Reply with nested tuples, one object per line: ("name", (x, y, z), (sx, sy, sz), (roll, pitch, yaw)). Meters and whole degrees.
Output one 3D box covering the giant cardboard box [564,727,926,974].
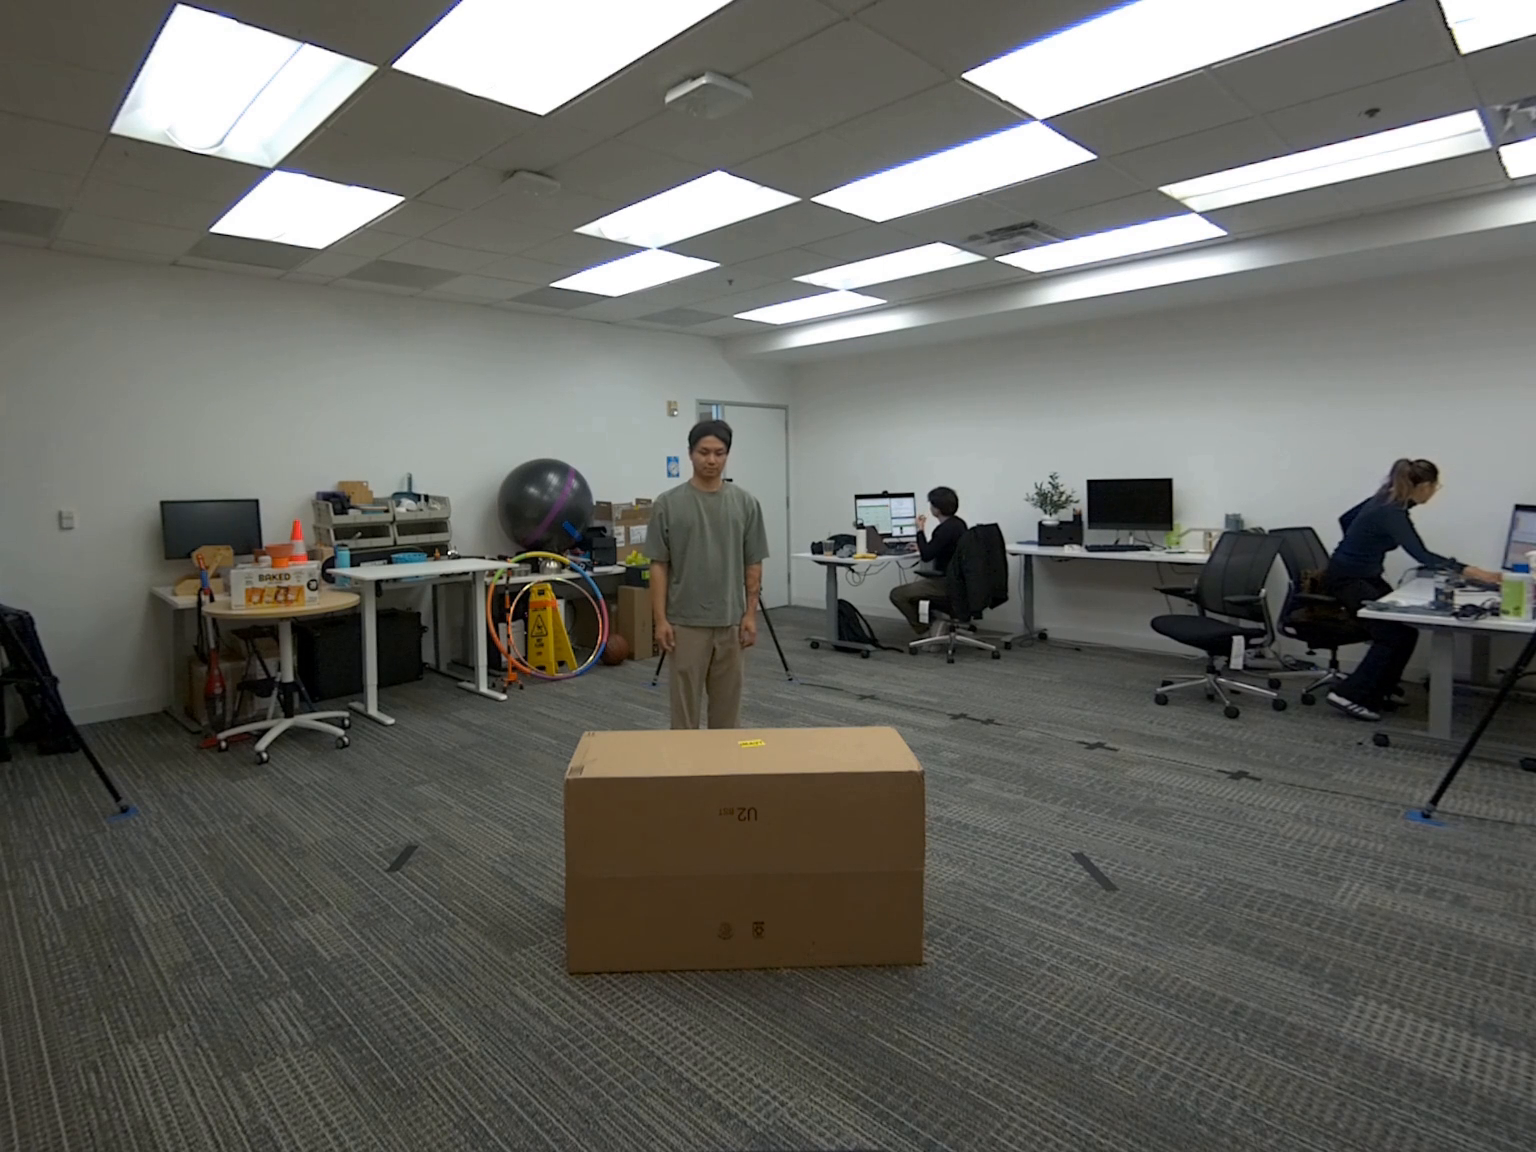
("giant cardboard box", (-0.078, 0.811, 2.627), (1.025, 0.575, 0.429), (-1, 5, -1))
